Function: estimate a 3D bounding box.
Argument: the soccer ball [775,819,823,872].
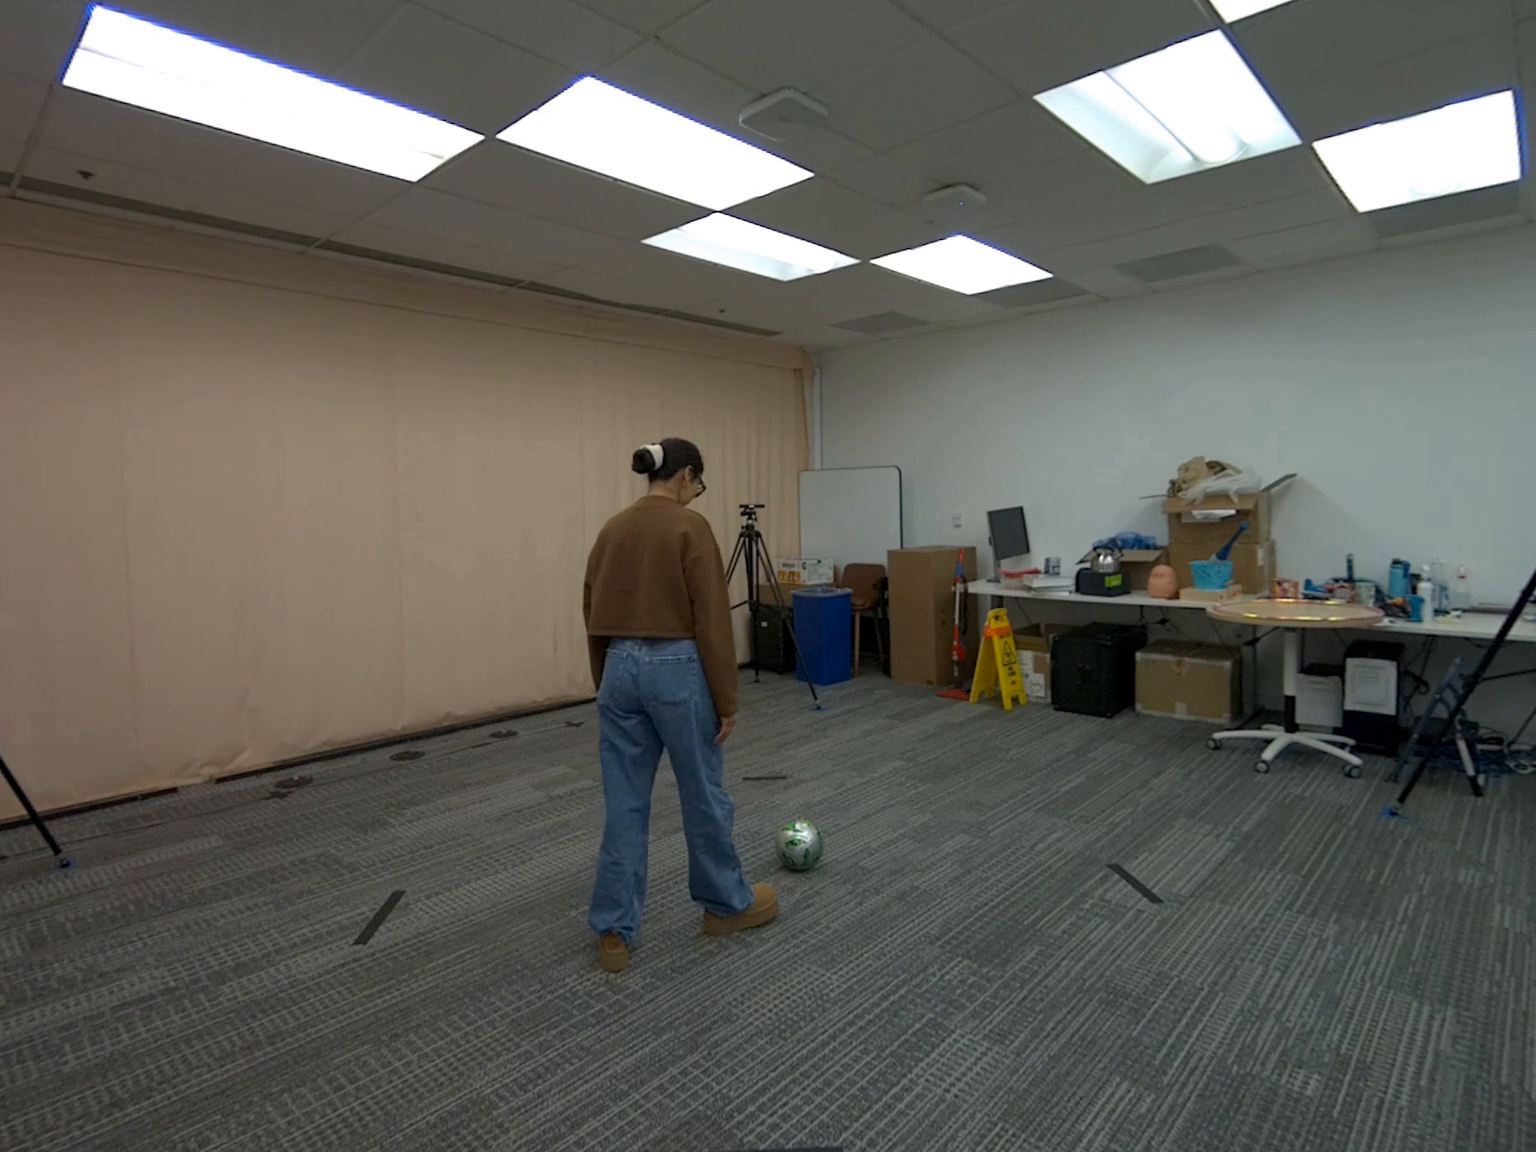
[{"bbox_3d":[0.123,1.023,3.216,0.187,0.187,0.188,-1,4,-2],"label":"soccer ball"}]
